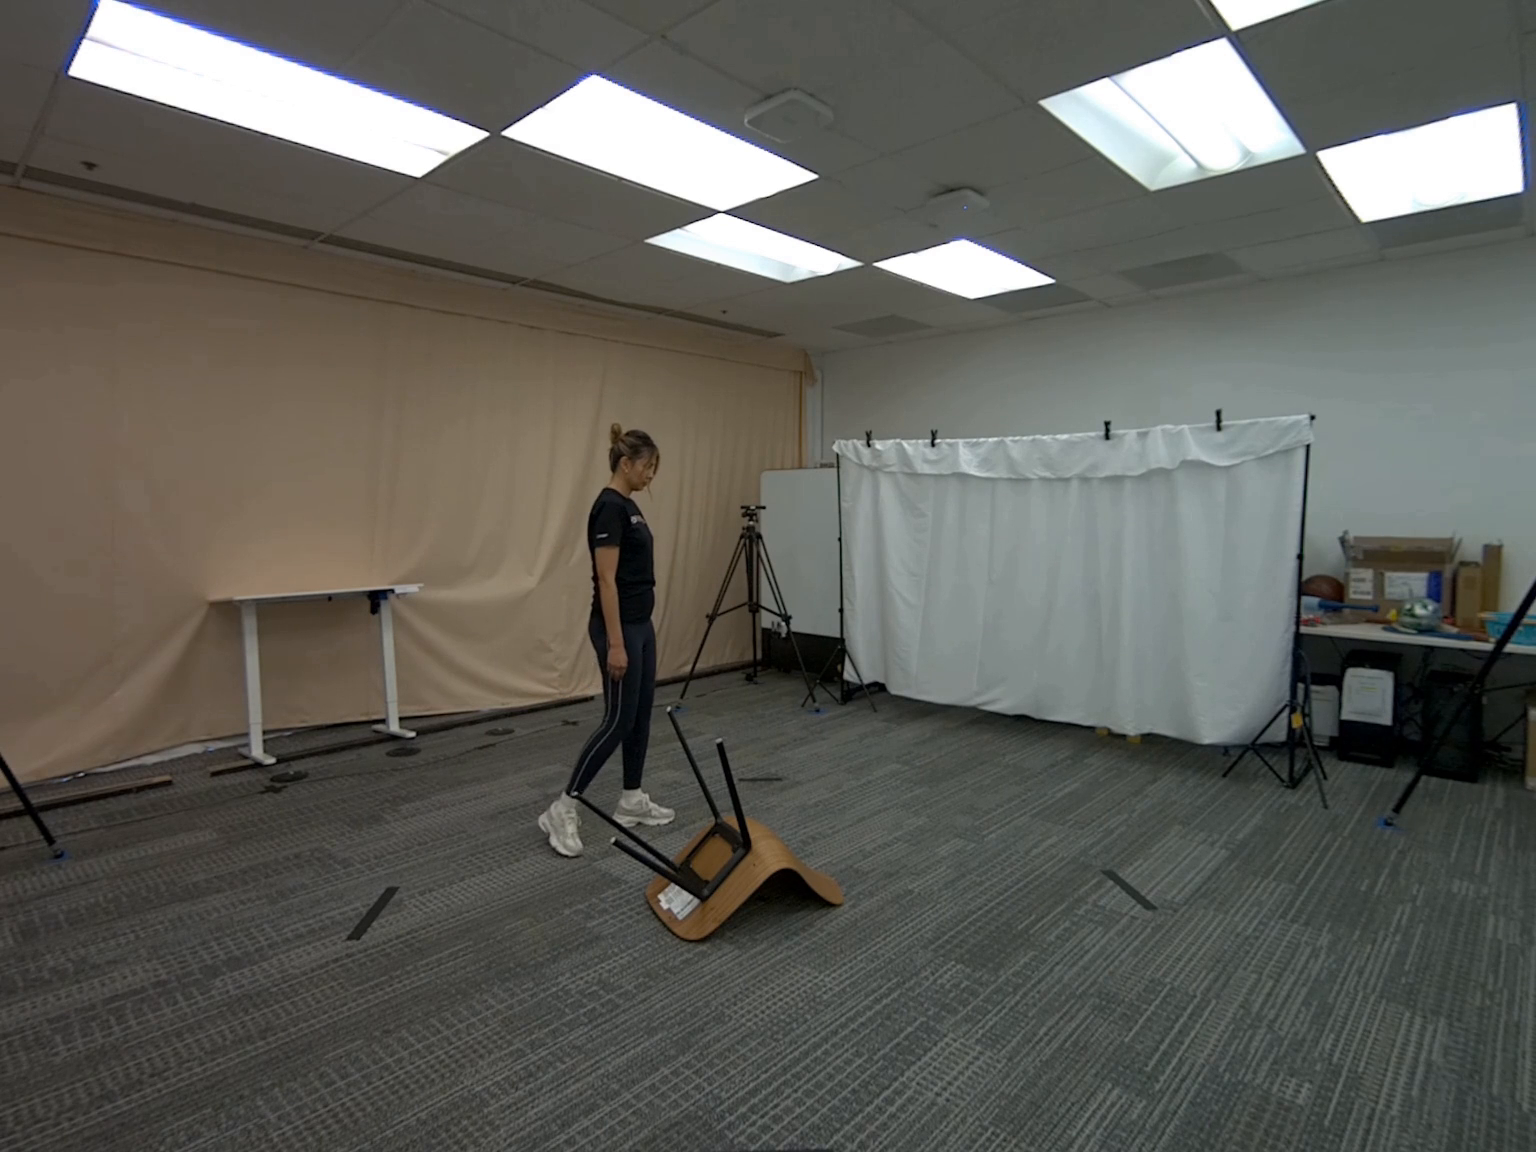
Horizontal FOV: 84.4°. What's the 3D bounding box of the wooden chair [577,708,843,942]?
[{"bbox_3d":[-0.196,0.978,2.917,0.520,0.859,0.491,-44,21,-17],"label":"wooden chair"}]
